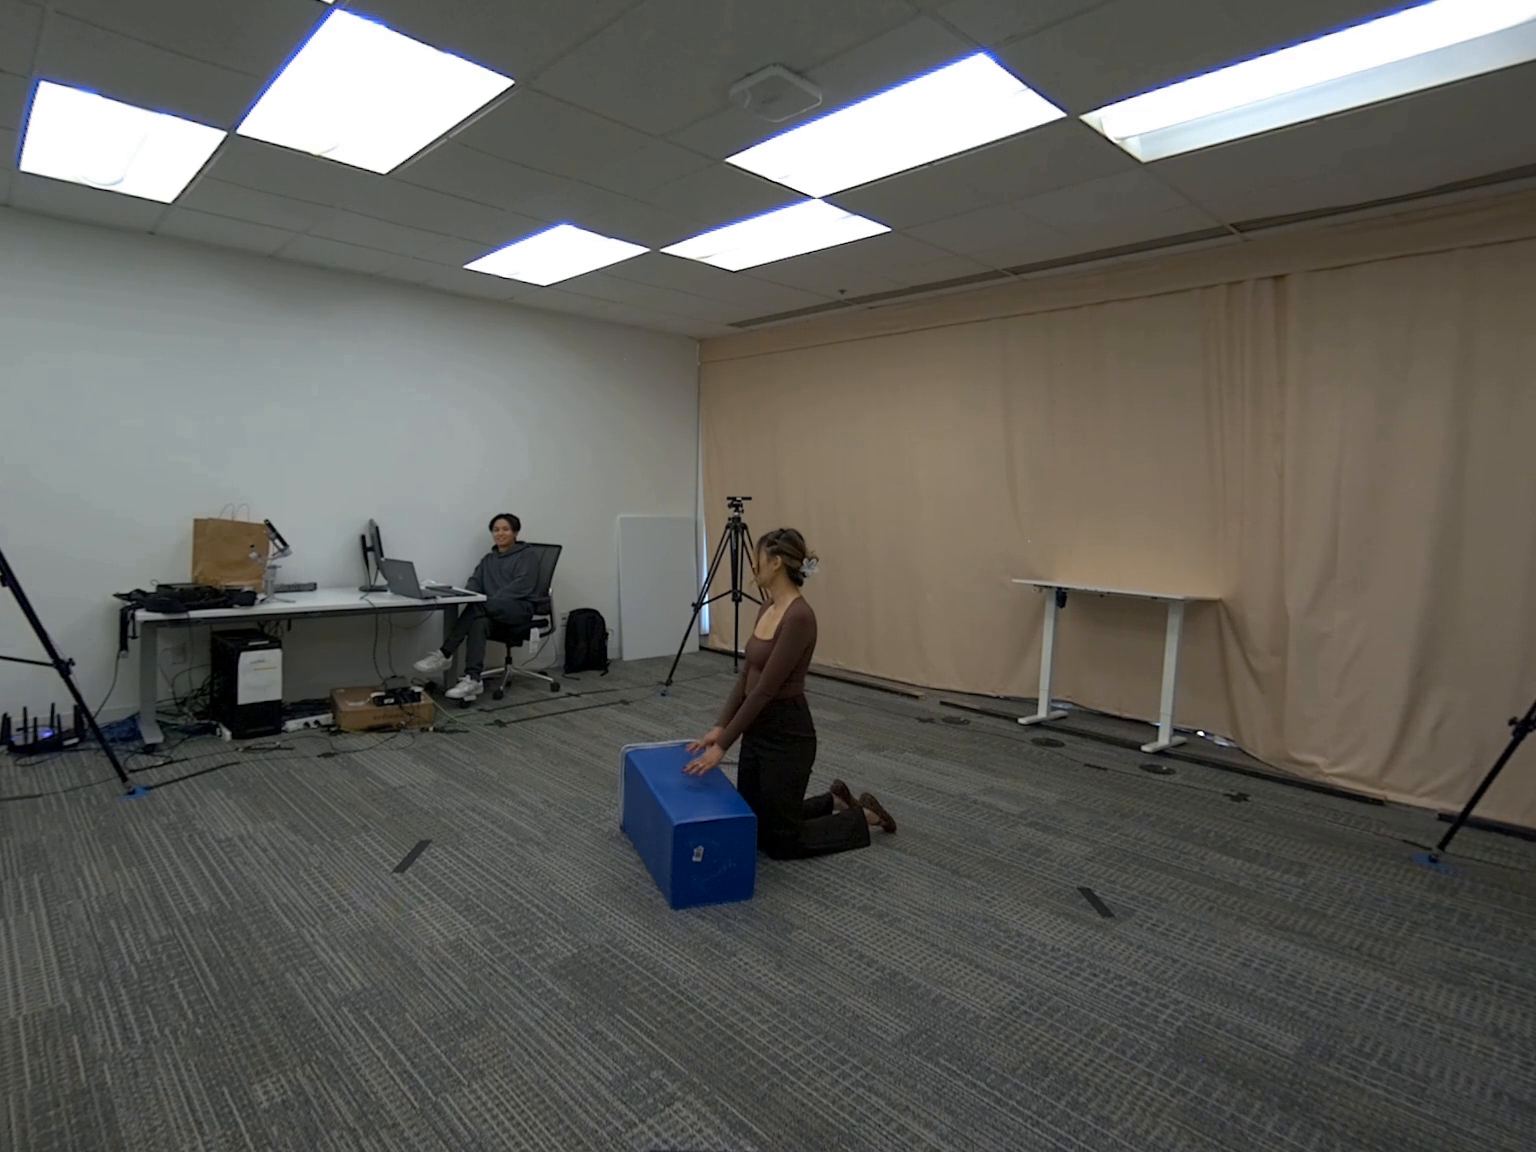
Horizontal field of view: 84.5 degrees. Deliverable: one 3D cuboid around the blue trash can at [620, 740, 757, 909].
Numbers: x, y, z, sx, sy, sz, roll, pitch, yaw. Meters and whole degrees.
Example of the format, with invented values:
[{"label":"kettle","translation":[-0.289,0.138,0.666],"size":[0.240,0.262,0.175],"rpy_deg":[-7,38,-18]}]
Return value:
[{"label":"blue trash can","translation":[-0.322,0.920,3.196],"size":[0.368,0.377,0.727],"rpy_deg":[1,6,-20]}]
